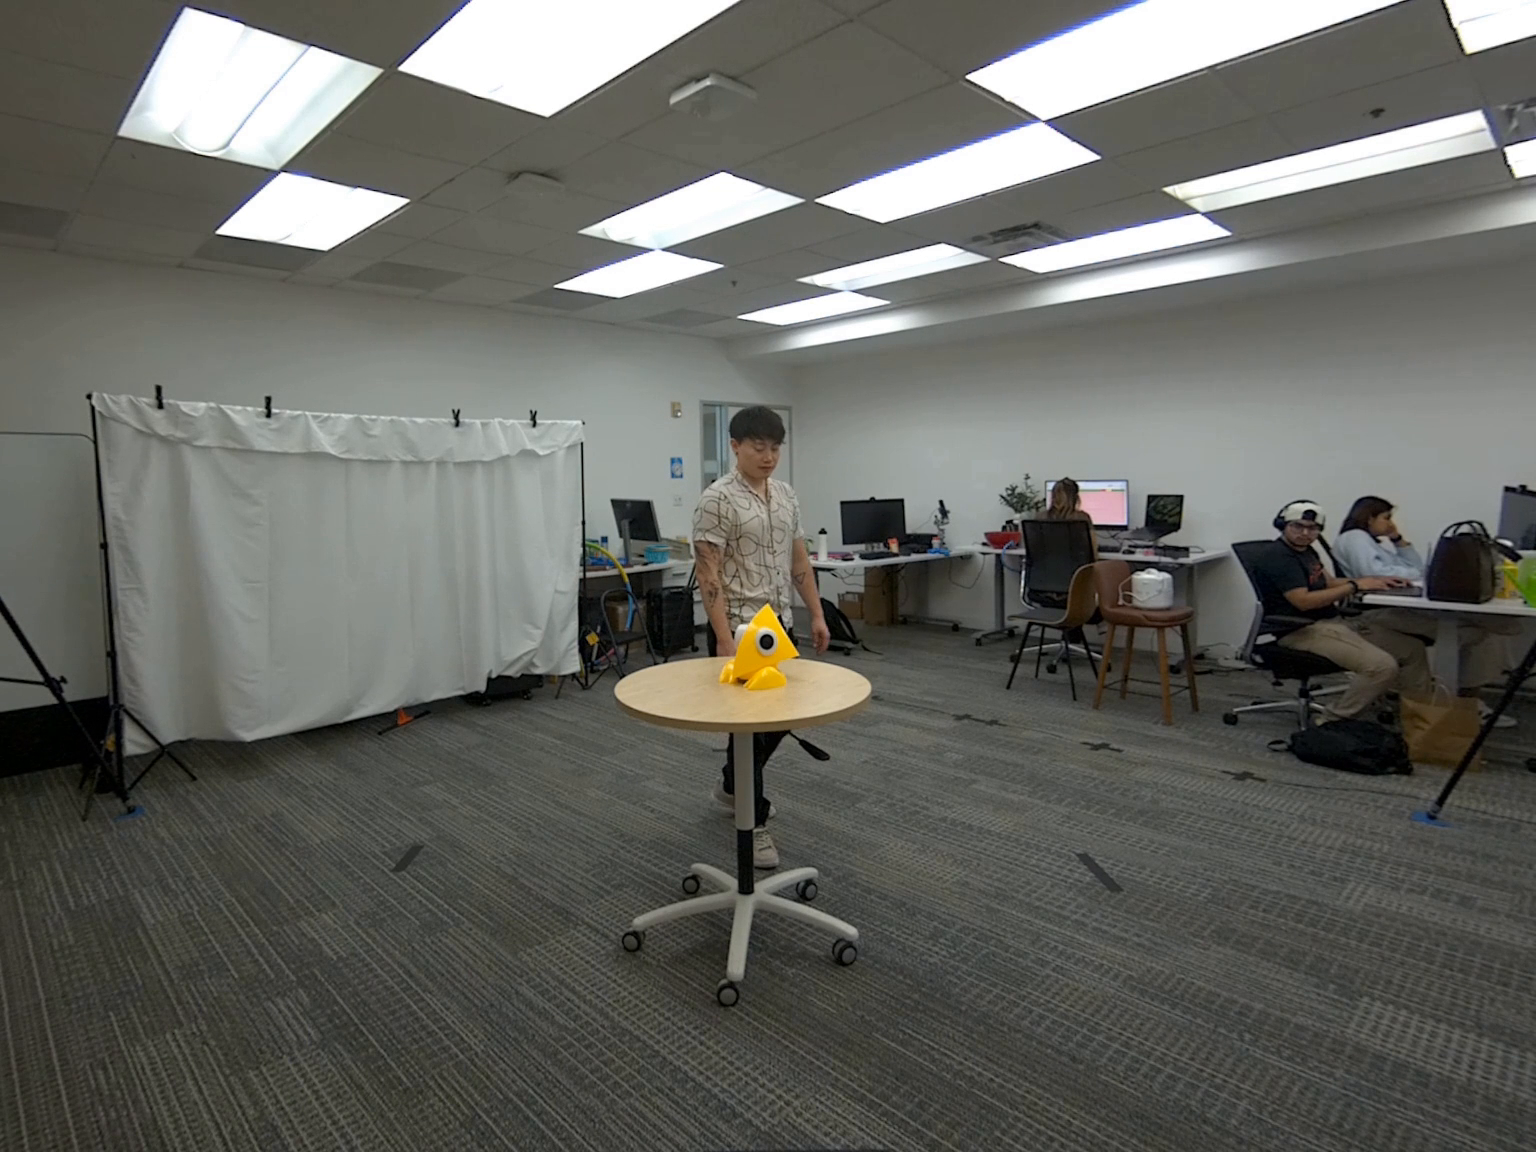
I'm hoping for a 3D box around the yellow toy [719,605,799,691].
[{"bbox_3d":[-0.042,0.211,2.602,0.188,0.229,0.211,-7,8,-43],"label":"yellow toy"}]
